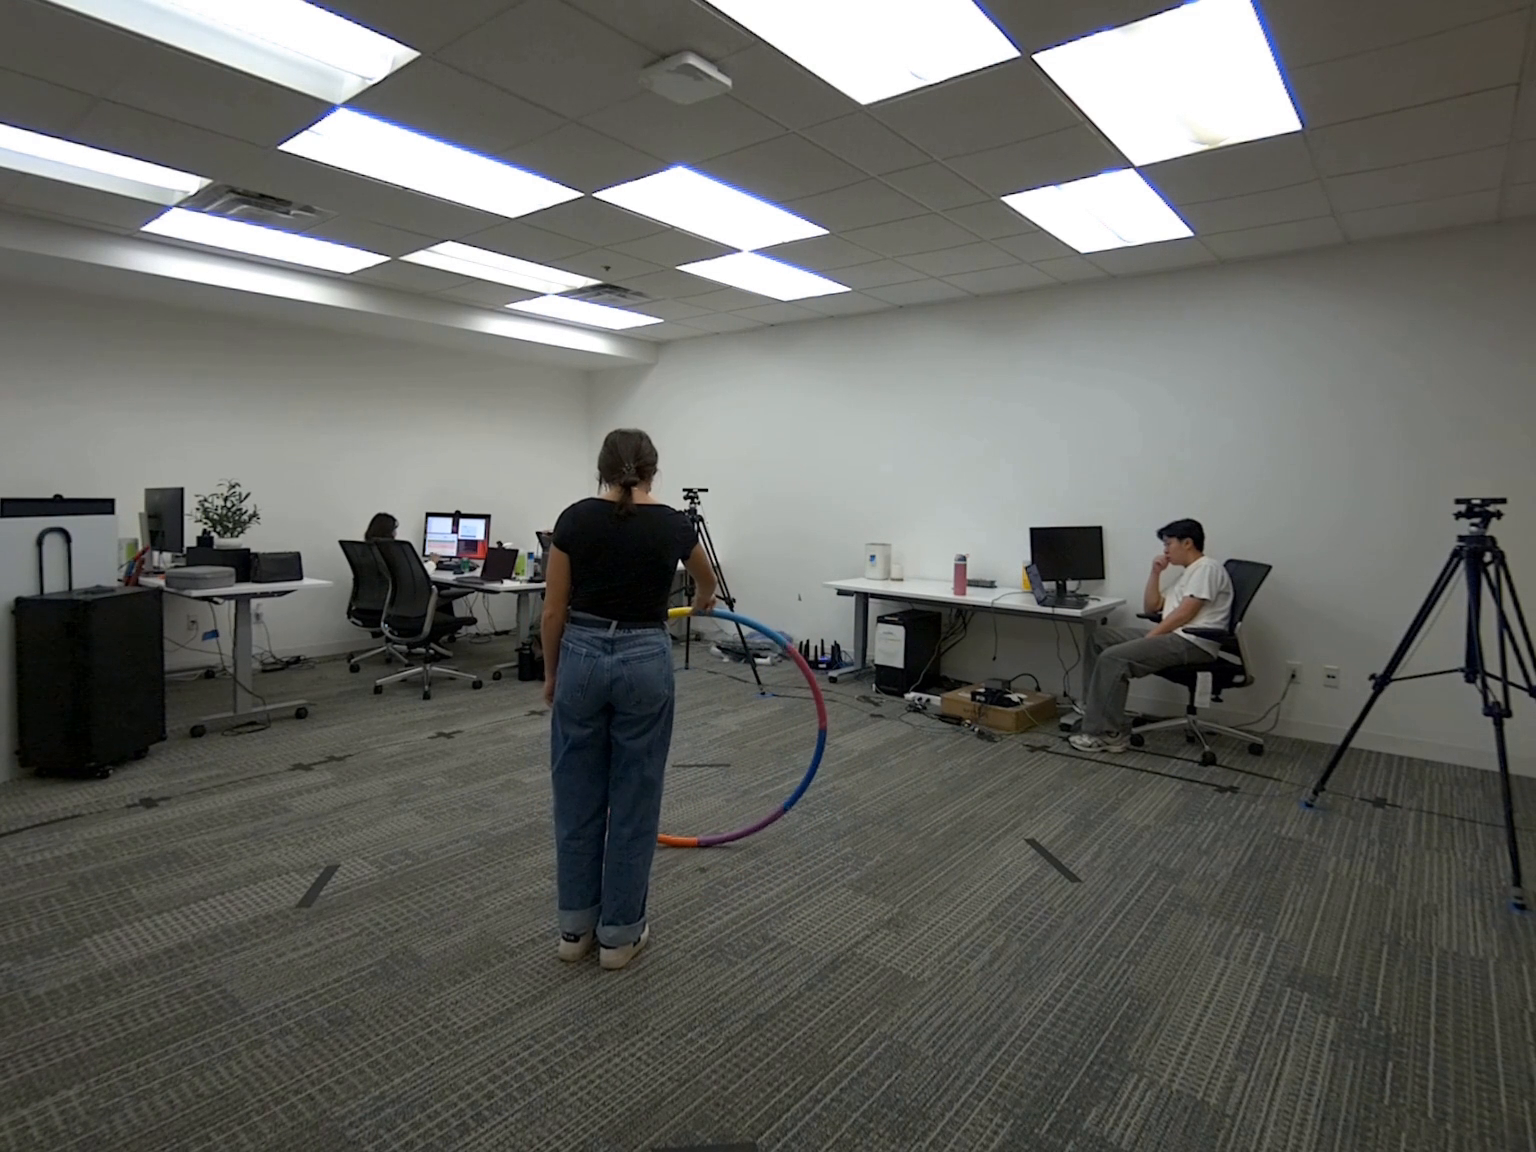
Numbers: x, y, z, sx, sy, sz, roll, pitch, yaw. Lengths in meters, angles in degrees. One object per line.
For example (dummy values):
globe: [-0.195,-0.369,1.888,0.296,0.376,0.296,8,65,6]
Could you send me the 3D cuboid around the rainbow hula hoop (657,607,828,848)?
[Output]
rainbow hula hoop: [-0.265,0.579,3.205,0.976,0.966,0.036,1,13,-2]
